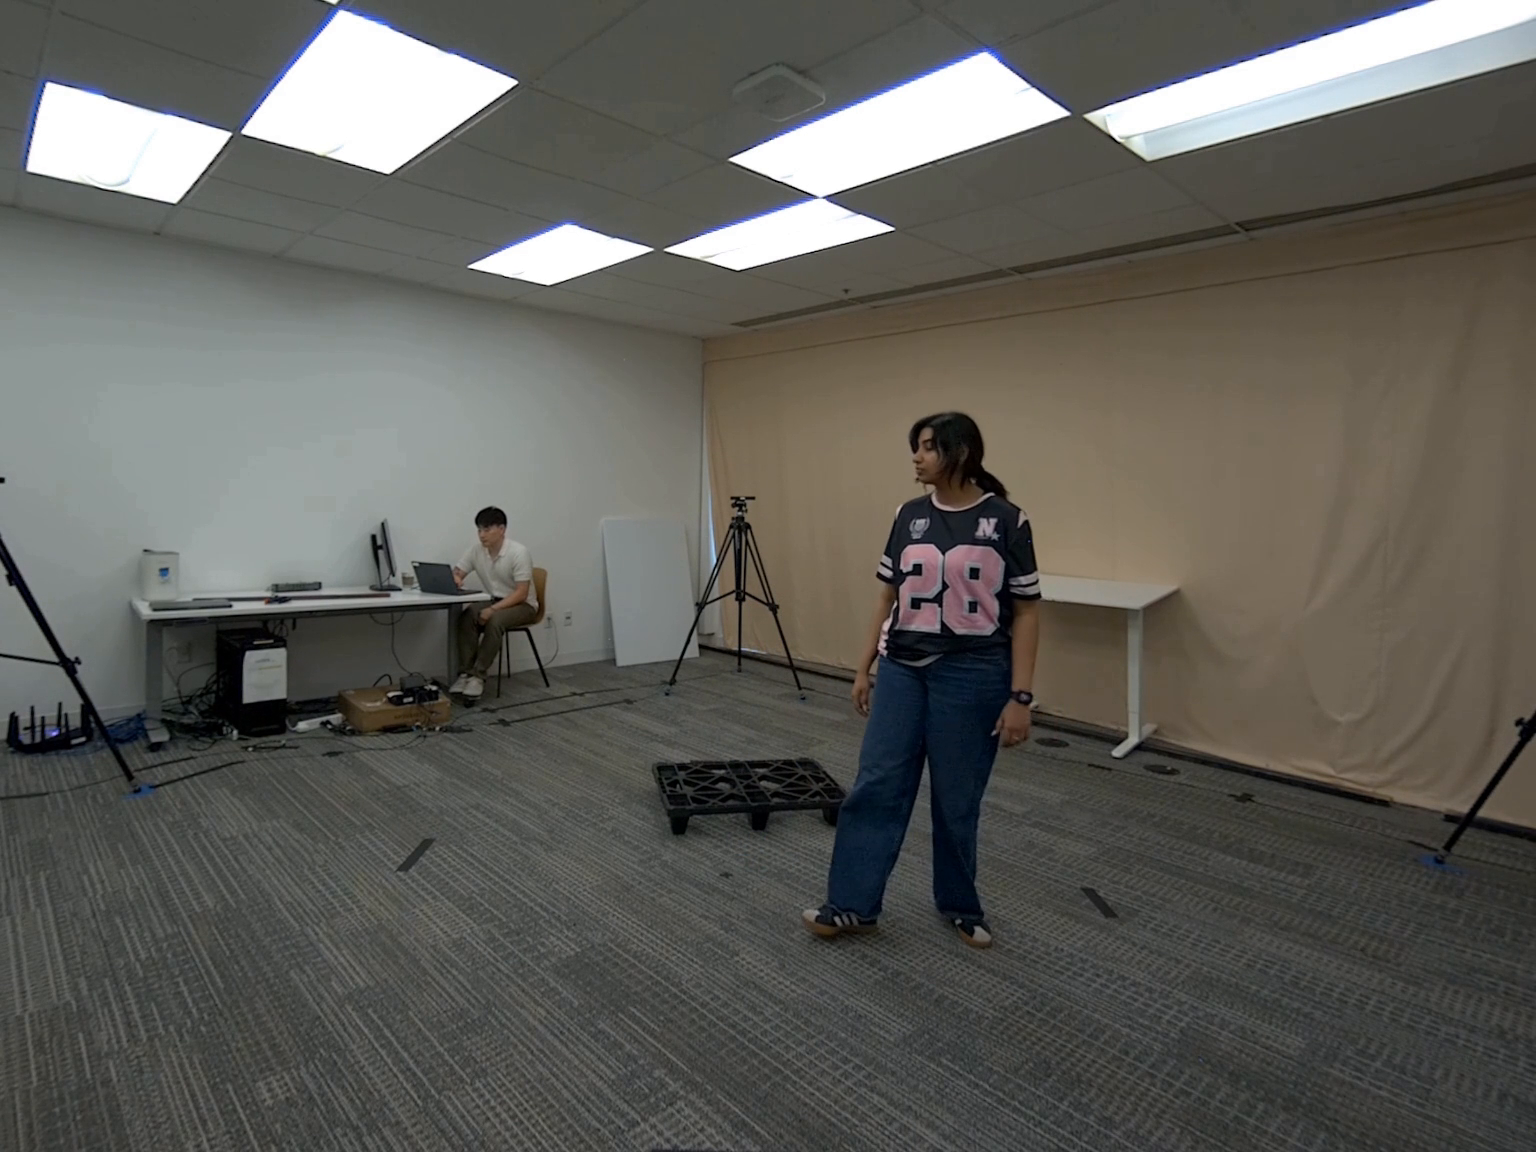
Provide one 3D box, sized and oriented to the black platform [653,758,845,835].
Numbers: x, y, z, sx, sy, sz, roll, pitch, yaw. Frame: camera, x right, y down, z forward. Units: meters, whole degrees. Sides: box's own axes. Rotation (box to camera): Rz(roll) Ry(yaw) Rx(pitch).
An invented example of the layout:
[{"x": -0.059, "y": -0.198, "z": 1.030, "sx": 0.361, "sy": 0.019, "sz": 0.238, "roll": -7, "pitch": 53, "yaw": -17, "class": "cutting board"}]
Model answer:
[{"x": -0.095, "y": 0.981, "z": 3.763, "sx": 0.798, "sy": 0.143, "sz": 0.613, "roll": 0, "pitch": 6, "yaw": -12, "class": "black platform"}]
